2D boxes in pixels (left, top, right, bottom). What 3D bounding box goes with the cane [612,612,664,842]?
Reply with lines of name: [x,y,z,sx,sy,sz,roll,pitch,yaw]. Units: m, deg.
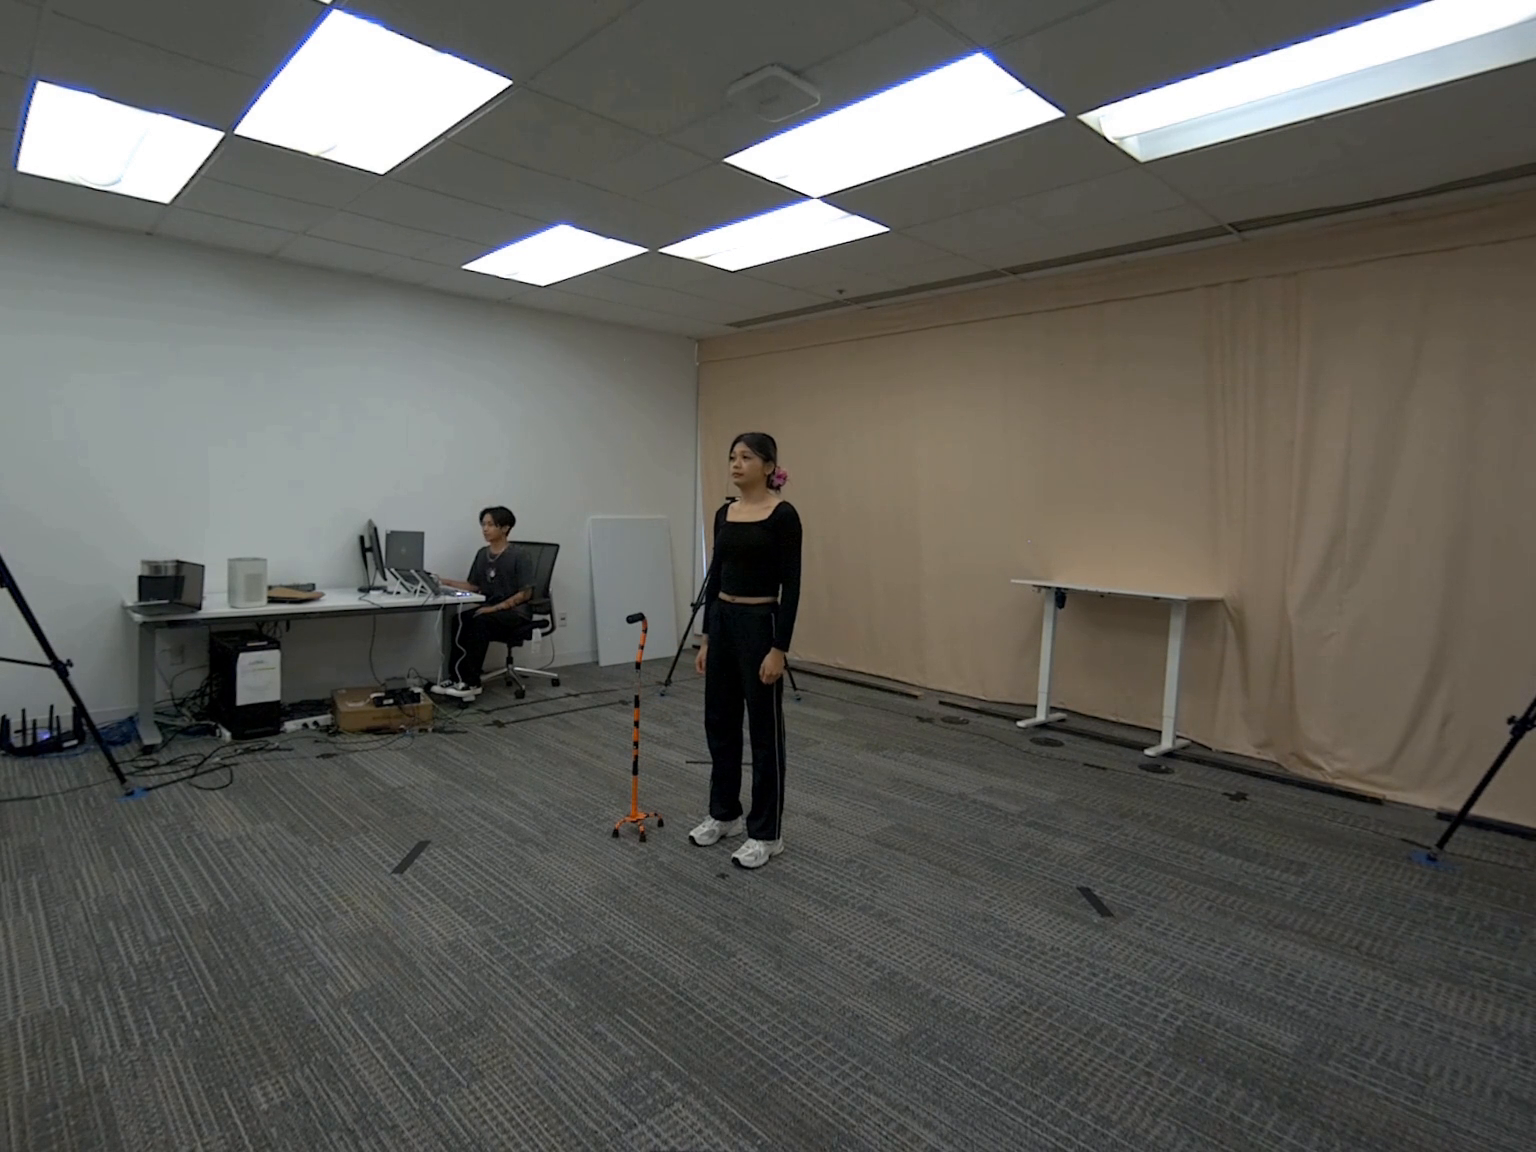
cane: [-0.533,0.610,3.486,0.154,0.906,0.204,2,3,17]
